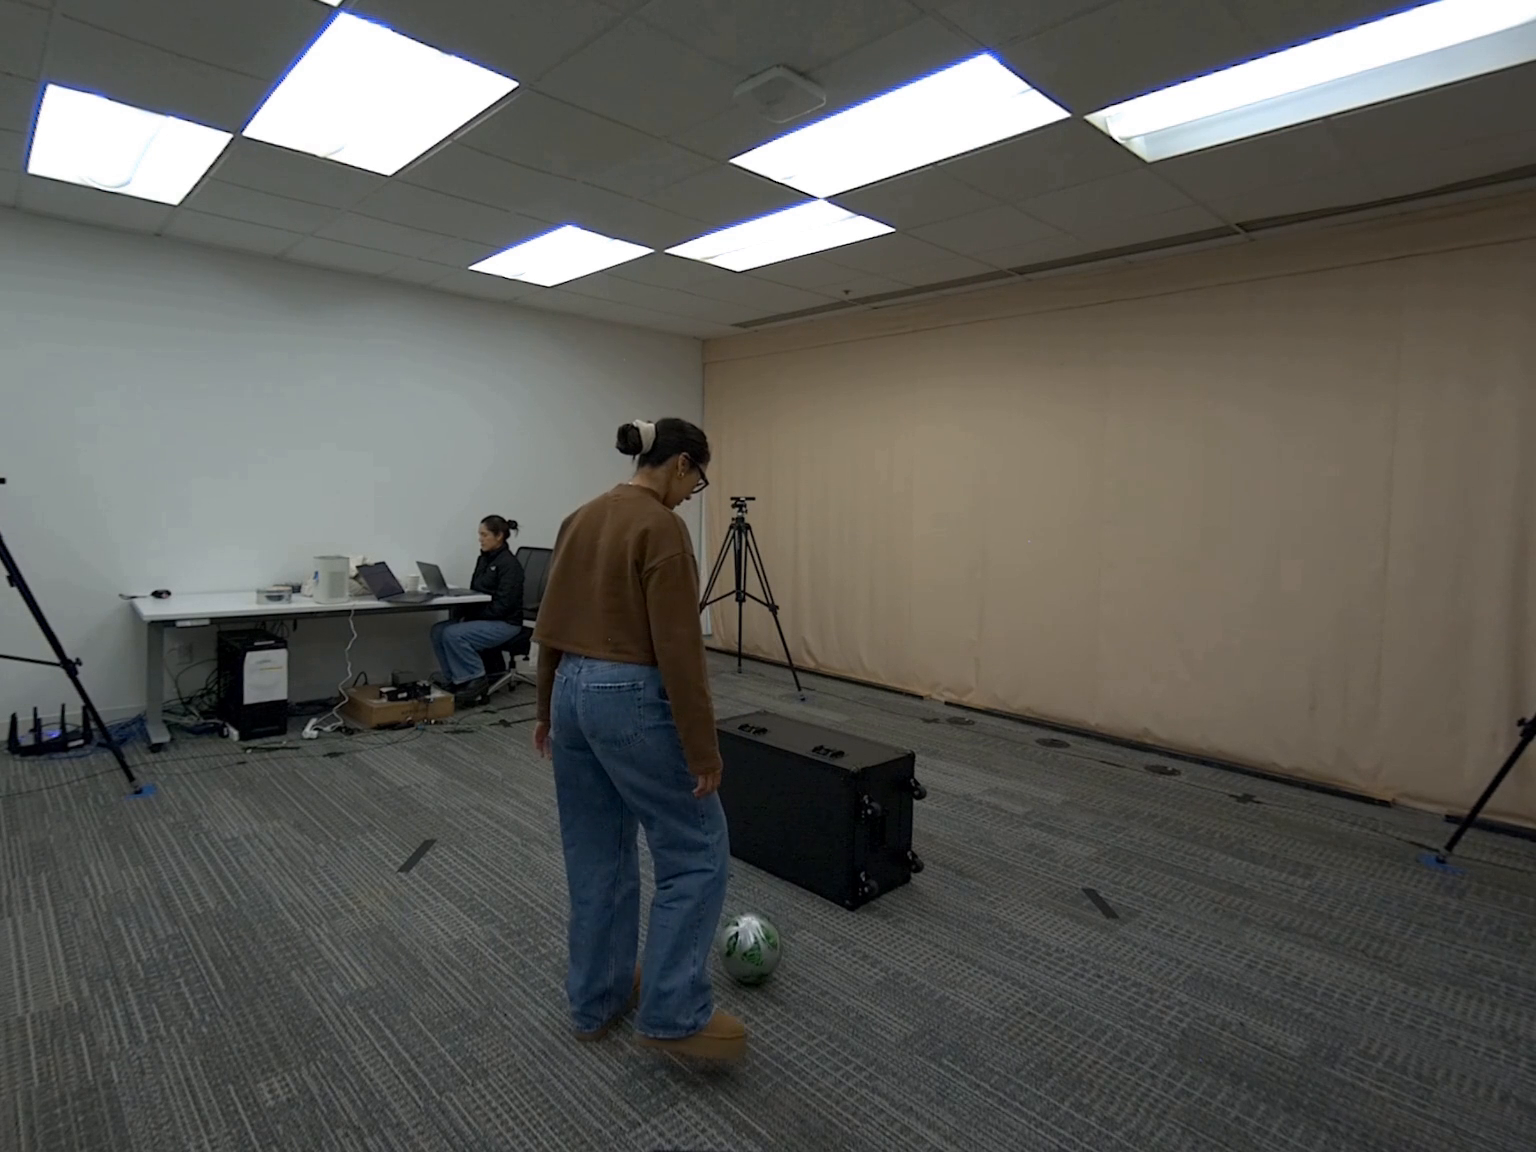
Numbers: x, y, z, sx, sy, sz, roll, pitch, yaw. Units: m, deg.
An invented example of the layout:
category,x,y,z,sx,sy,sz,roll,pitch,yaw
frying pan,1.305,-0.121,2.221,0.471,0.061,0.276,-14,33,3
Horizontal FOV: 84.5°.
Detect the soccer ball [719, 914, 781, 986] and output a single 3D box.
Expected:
category,x,y,z,sx,sy,sz,roll,pitch,yaw
soccer ball,-0.061,1.077,2.440,0.187,0.187,0.188,1,4,-1
